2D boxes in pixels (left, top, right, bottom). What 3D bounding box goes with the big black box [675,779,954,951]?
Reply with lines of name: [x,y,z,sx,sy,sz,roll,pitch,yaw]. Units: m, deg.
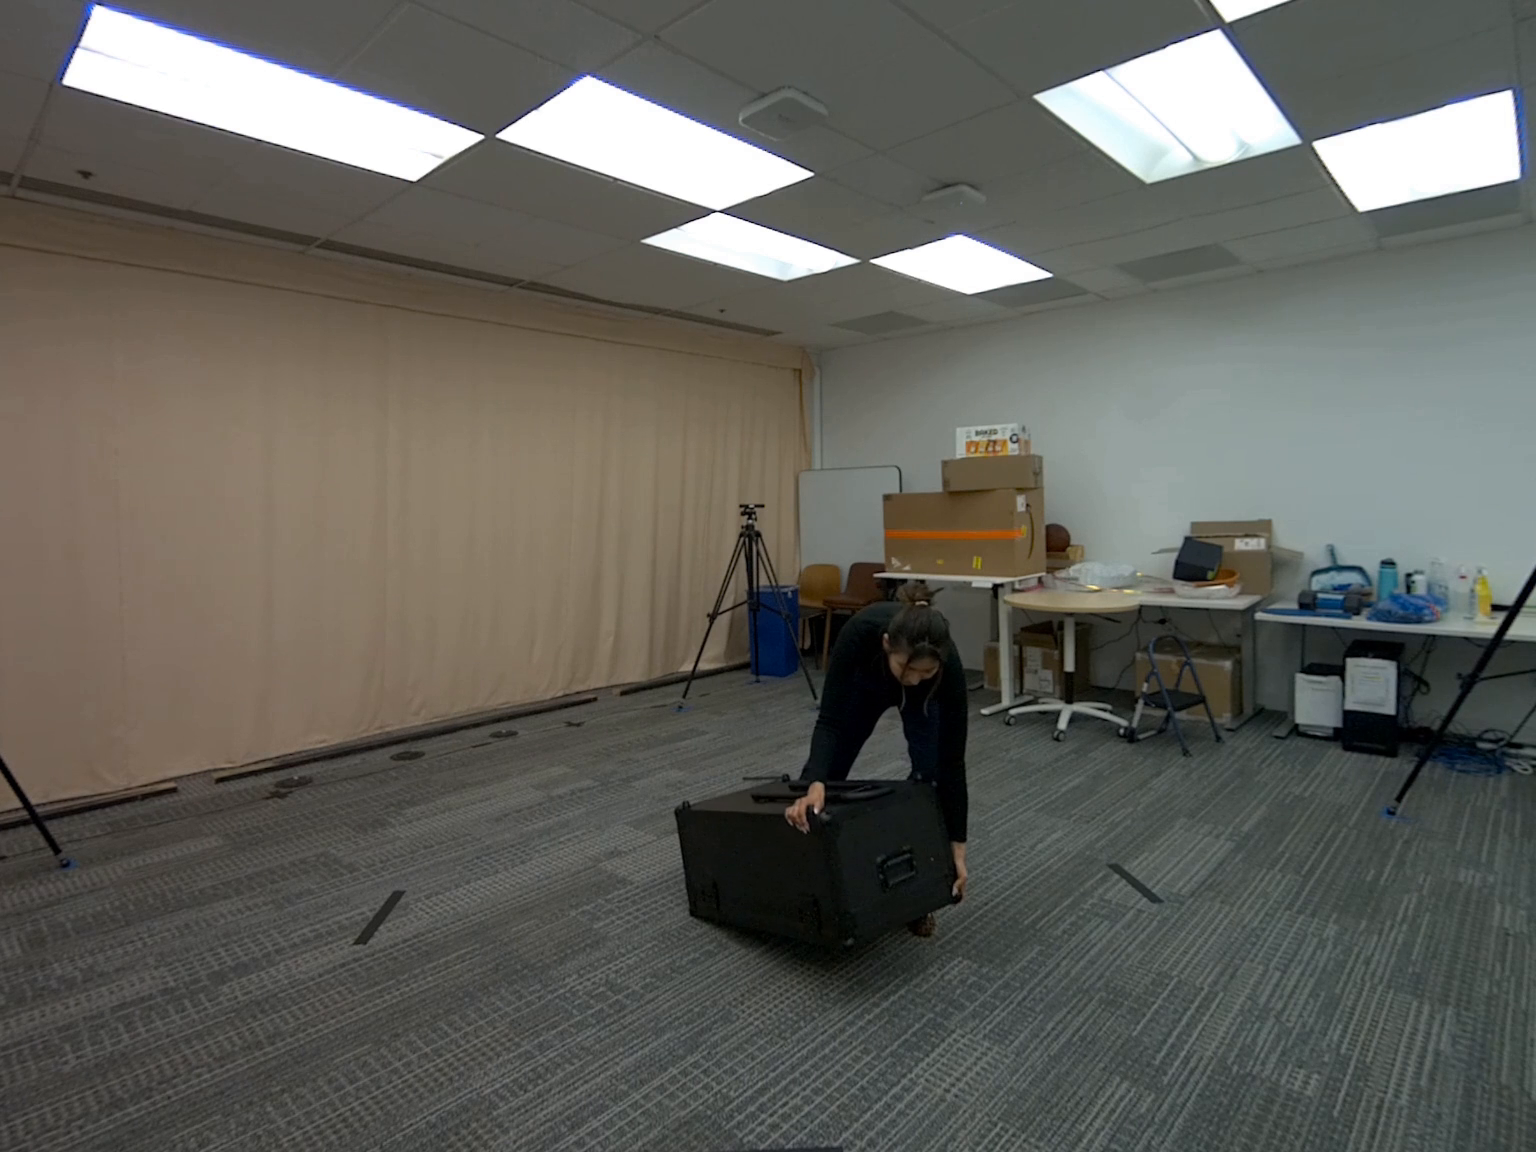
big black box: [0.144,0.898,2.692,0.506,0.399,0.881,-5,-8,-37]
